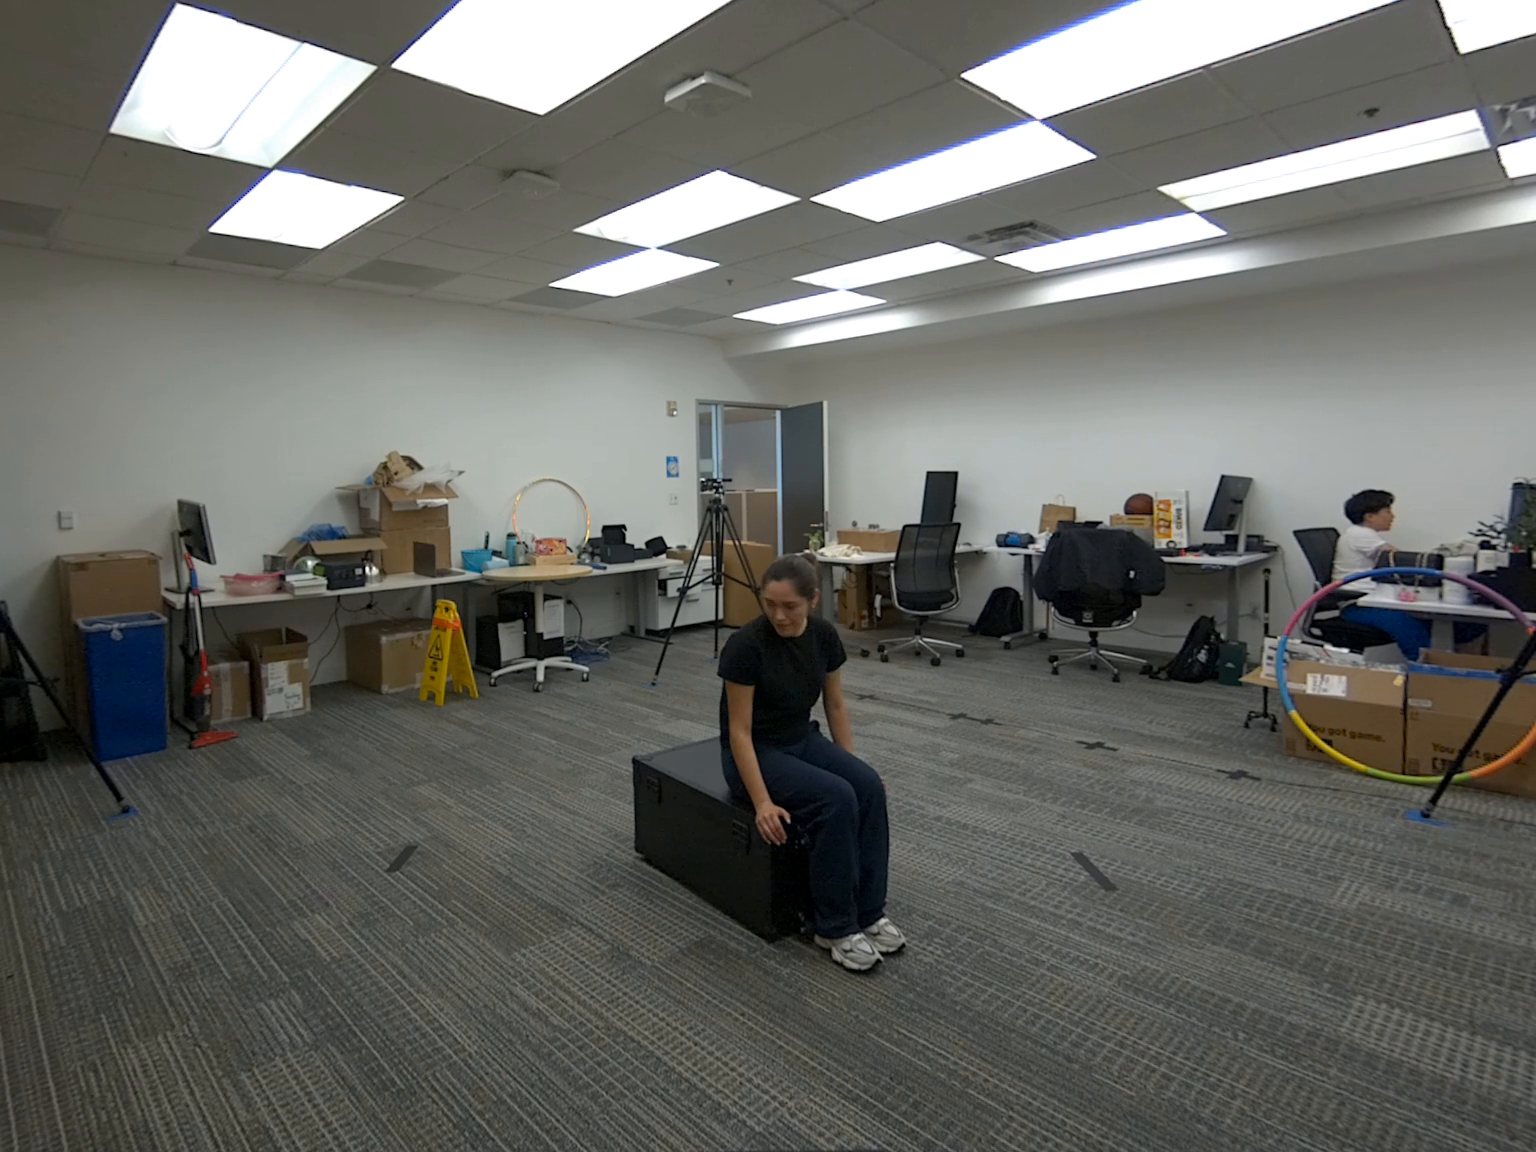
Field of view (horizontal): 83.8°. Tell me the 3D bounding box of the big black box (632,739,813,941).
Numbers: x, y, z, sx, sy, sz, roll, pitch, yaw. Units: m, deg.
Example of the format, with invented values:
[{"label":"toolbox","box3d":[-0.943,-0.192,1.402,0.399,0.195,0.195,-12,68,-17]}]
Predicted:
[{"label":"big black box","box3d":[-0.082,0.867,3.036,0.508,0.394,0.889,-5,9,-39]}]
